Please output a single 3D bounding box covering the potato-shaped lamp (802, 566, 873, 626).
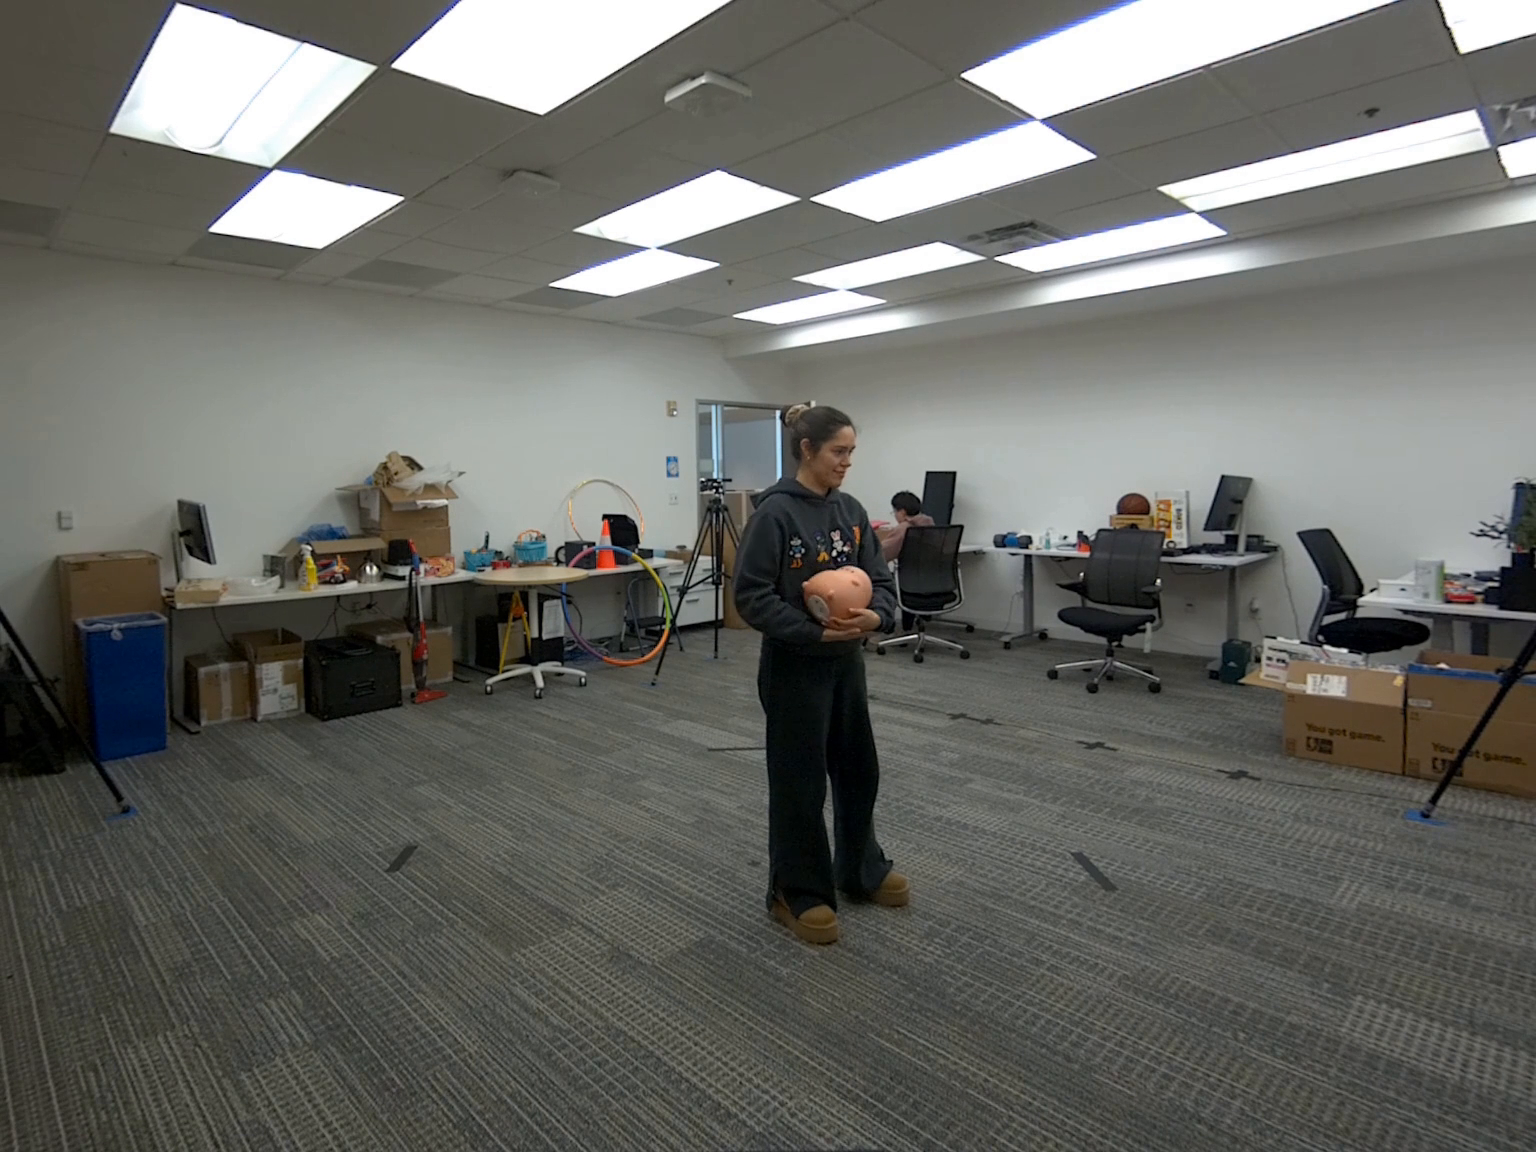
[{"bbox_3d":[0.206,0.048,2.489,0.170,0.167,0.196,13,37,43],"label":"potato-shaped lamp"}]
